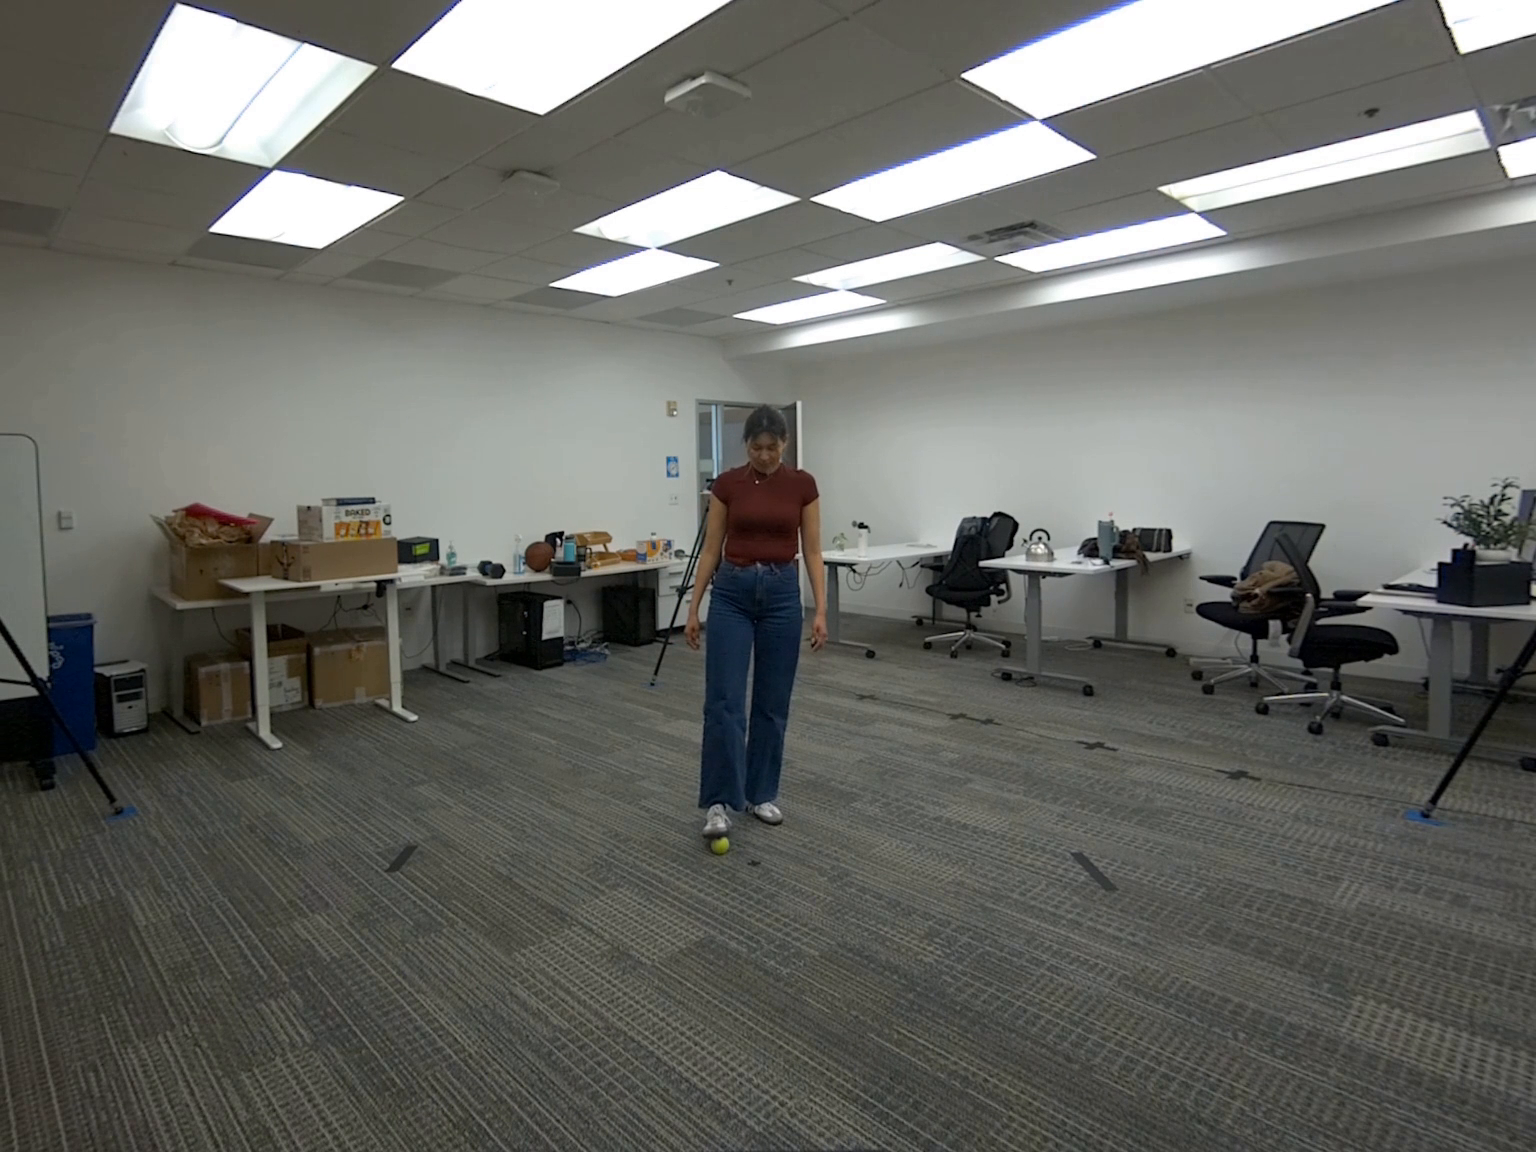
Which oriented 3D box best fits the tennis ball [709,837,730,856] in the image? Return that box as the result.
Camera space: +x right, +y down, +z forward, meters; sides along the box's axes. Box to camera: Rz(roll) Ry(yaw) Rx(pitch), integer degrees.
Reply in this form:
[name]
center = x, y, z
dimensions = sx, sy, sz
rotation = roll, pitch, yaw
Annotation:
[tennis ball]
center = -0.188, 1.002, 3.193
dimensions = 0.066, 0.066, 0.067
rotation = -1, 5, -2
